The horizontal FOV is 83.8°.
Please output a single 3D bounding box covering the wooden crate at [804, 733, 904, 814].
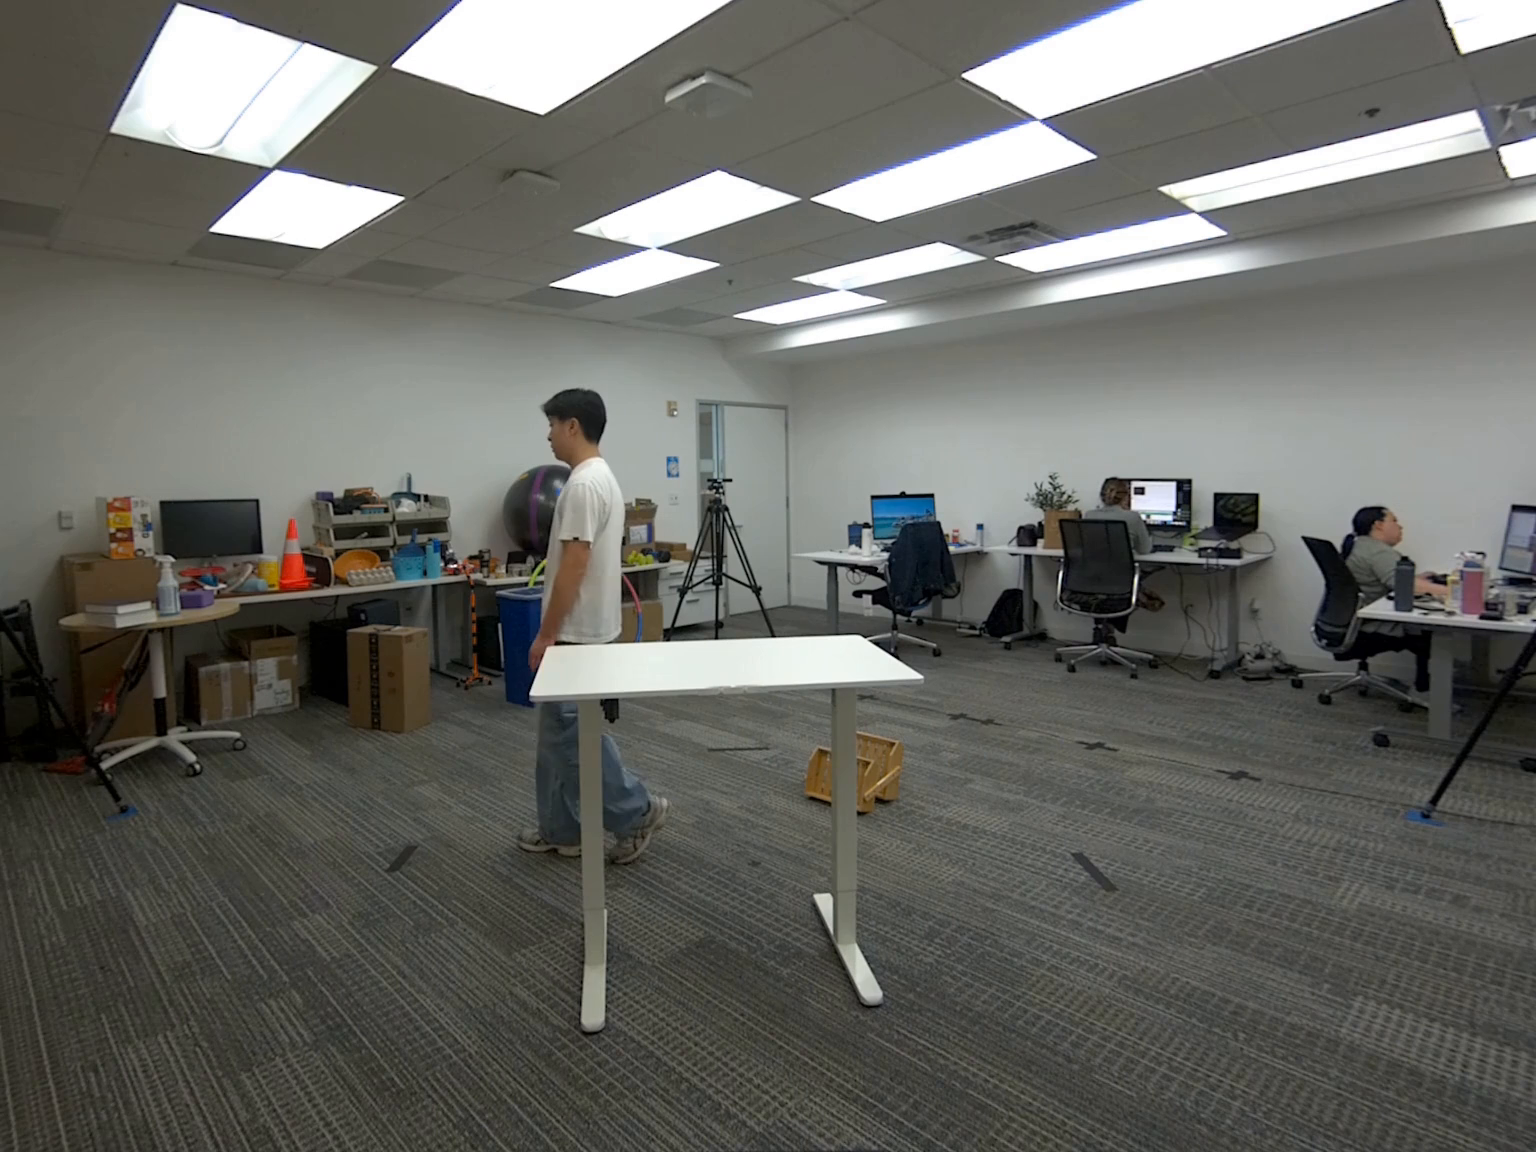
[{"bbox_3d":[0.375,0.833,3.721,0.334,0.304,0.263,4,-11,43],"label":"wooden crate"}]
